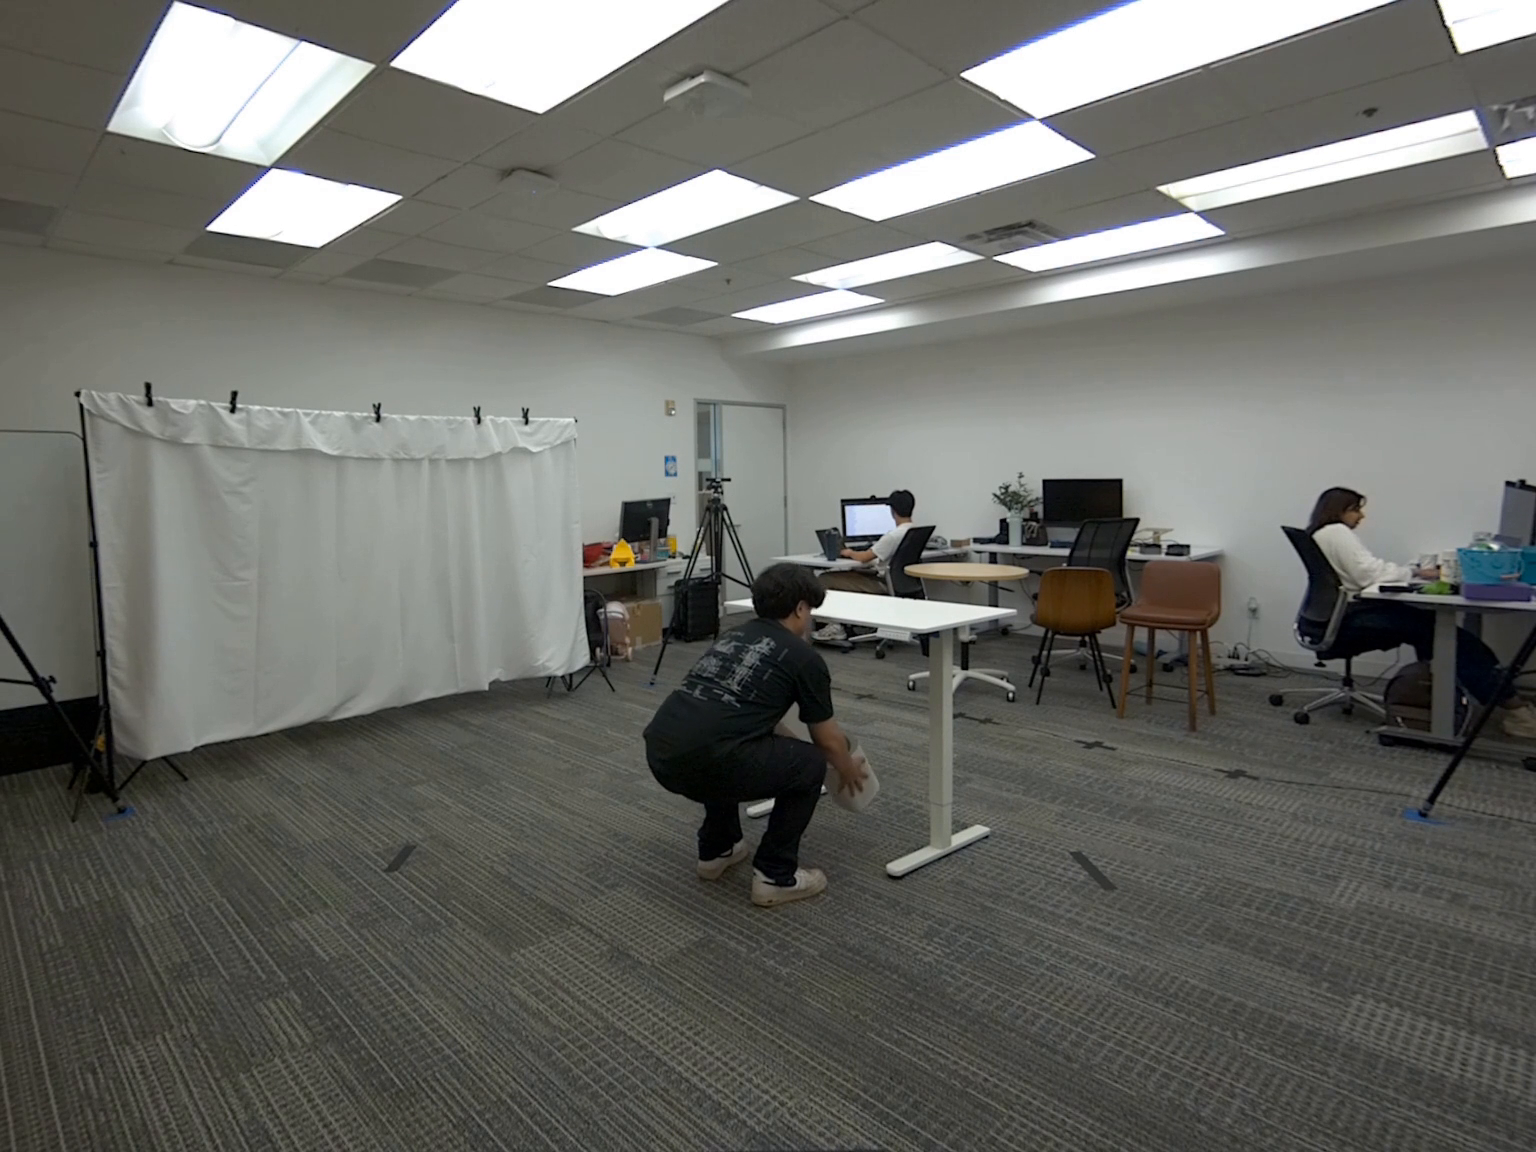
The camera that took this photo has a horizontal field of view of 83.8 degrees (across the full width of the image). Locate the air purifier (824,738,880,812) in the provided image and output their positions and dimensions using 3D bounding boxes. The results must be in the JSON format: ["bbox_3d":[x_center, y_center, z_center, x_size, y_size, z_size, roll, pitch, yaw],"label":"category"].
[{"bbox_3d":[0.291,0.754,3.278,0.171,0.258,0.176,-40,28,-29],"label":"air purifier"}]
